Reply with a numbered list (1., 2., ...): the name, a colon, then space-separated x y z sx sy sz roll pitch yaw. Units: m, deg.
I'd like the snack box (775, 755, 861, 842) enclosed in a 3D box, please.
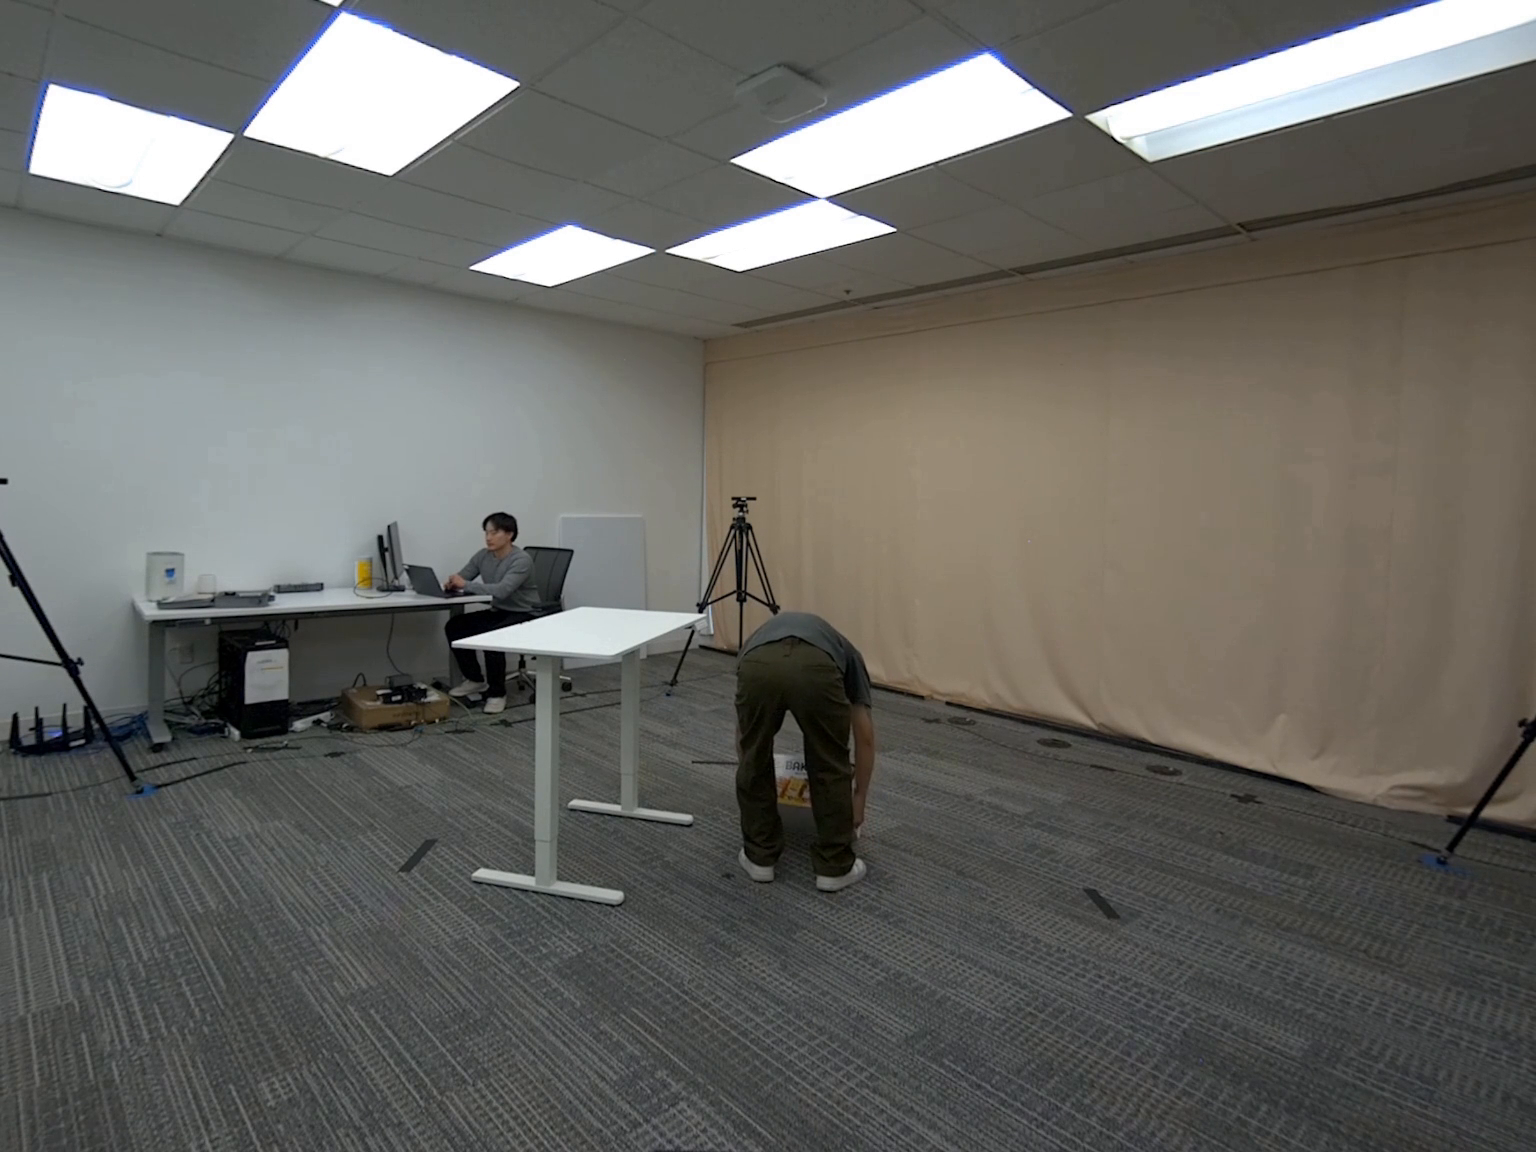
1. snack box: 0.163 0.902 3.446 0.410 0.209 0.331 2 -34 14
